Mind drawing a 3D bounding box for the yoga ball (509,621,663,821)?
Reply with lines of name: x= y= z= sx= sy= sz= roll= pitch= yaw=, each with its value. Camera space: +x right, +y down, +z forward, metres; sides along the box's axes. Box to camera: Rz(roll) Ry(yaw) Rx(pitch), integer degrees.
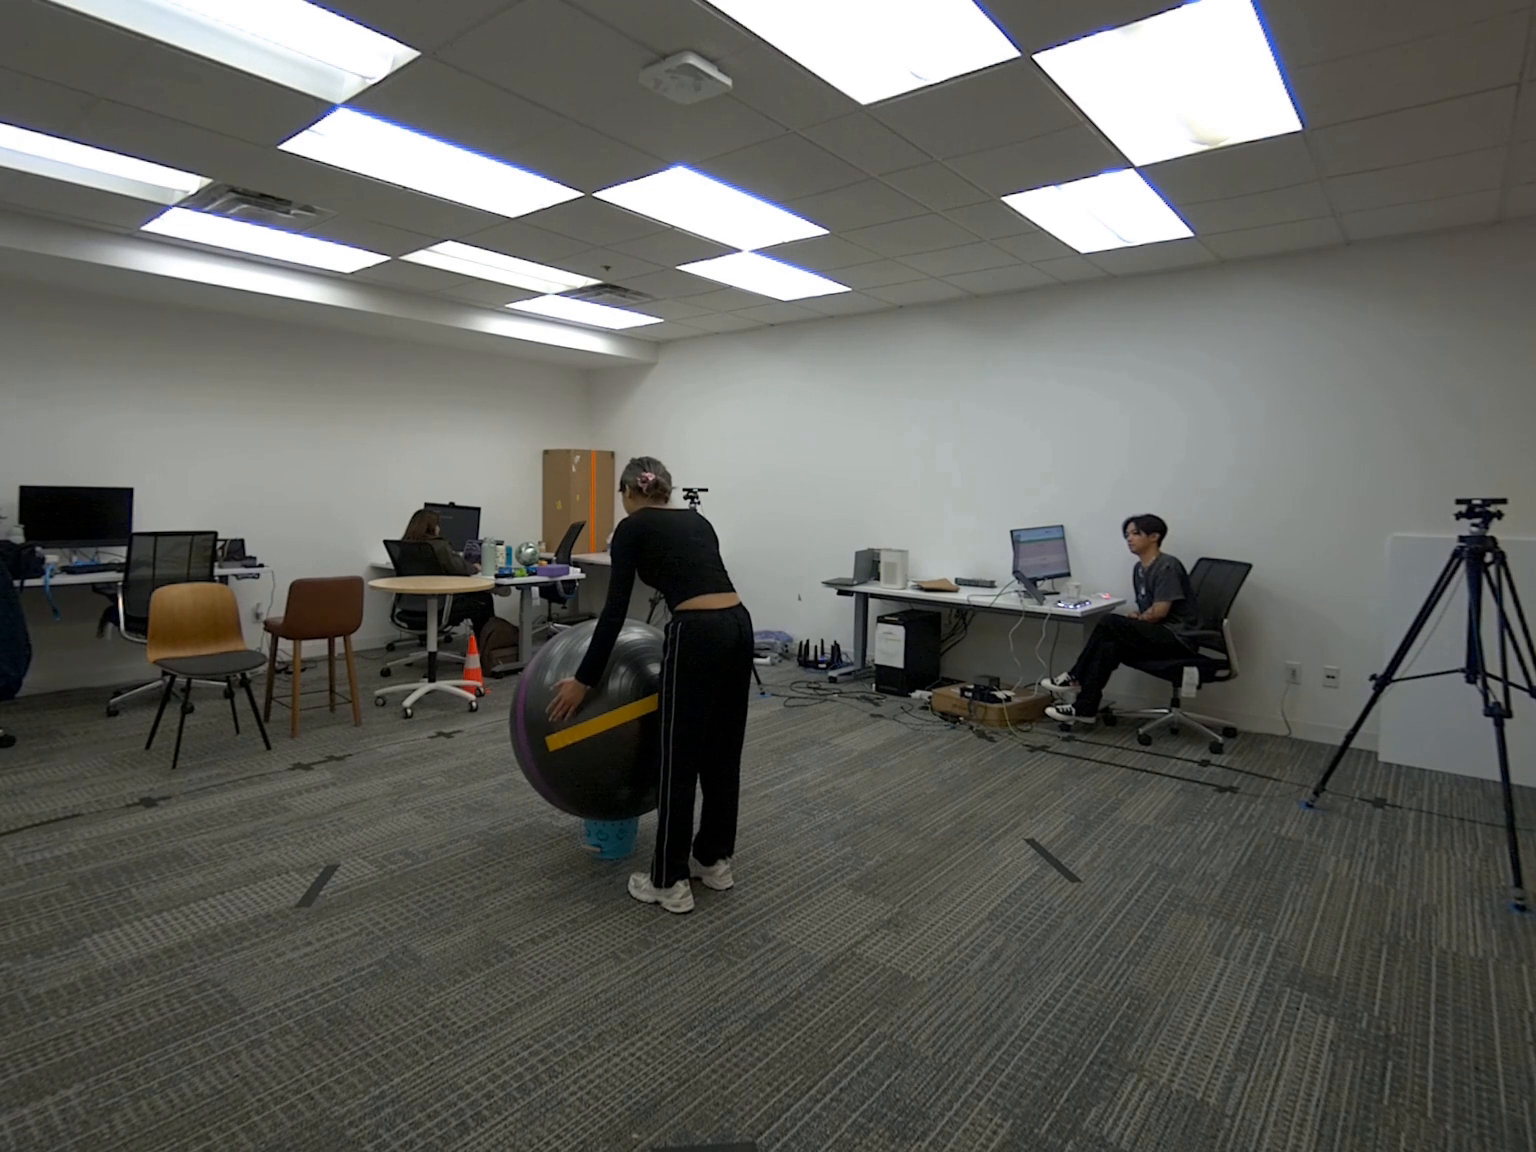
yoga ball: x=-0.617 y=0.543 z=3.252 sx=0.757 sy=0.755 sz=0.762 roll=1 pitch=4 yaw=-2
